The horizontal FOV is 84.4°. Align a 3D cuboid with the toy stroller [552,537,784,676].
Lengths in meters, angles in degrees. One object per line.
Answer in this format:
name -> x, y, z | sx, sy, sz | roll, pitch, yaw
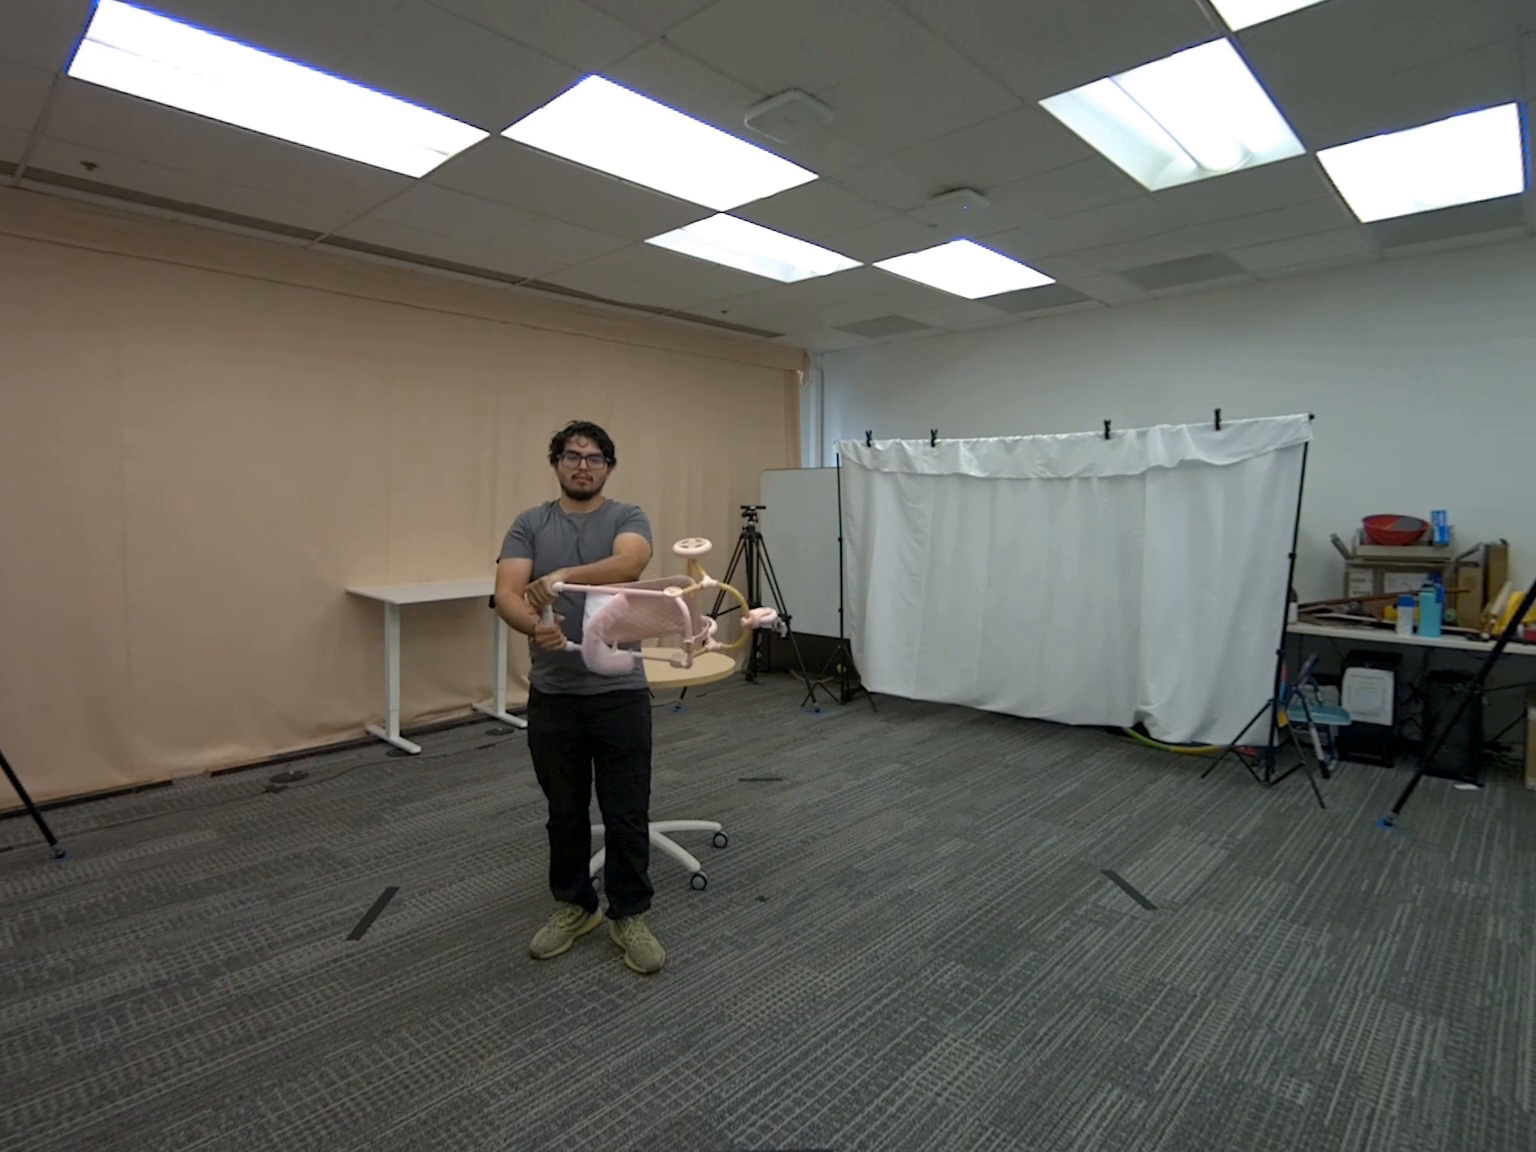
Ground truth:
toy stroller -> -0.282, 0.113, 2.215 | 0.524, 0.277, 0.354 | -14, 32, -26
